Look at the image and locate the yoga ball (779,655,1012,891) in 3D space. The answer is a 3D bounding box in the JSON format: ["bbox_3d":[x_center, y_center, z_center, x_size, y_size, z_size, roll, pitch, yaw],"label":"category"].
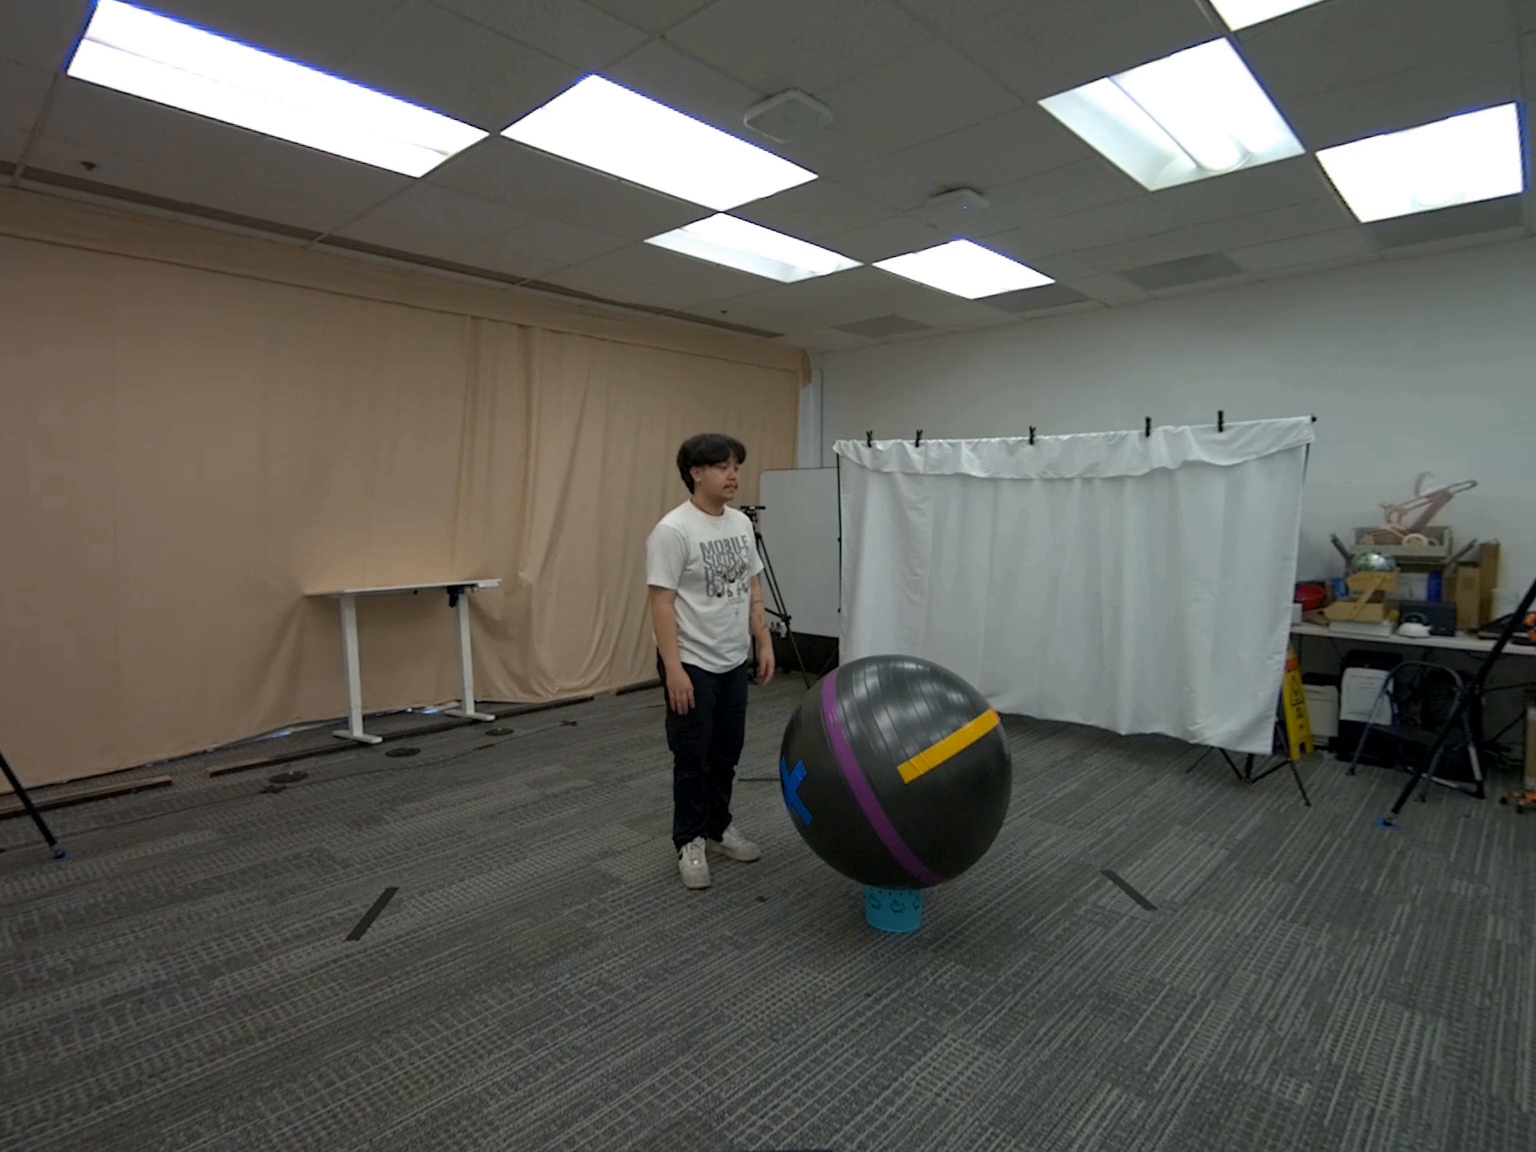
[{"bbox_3d":[0.421,0.651,2.811,0.757,0.756,0.760,0,4,-2],"label":"yoga ball"}]
